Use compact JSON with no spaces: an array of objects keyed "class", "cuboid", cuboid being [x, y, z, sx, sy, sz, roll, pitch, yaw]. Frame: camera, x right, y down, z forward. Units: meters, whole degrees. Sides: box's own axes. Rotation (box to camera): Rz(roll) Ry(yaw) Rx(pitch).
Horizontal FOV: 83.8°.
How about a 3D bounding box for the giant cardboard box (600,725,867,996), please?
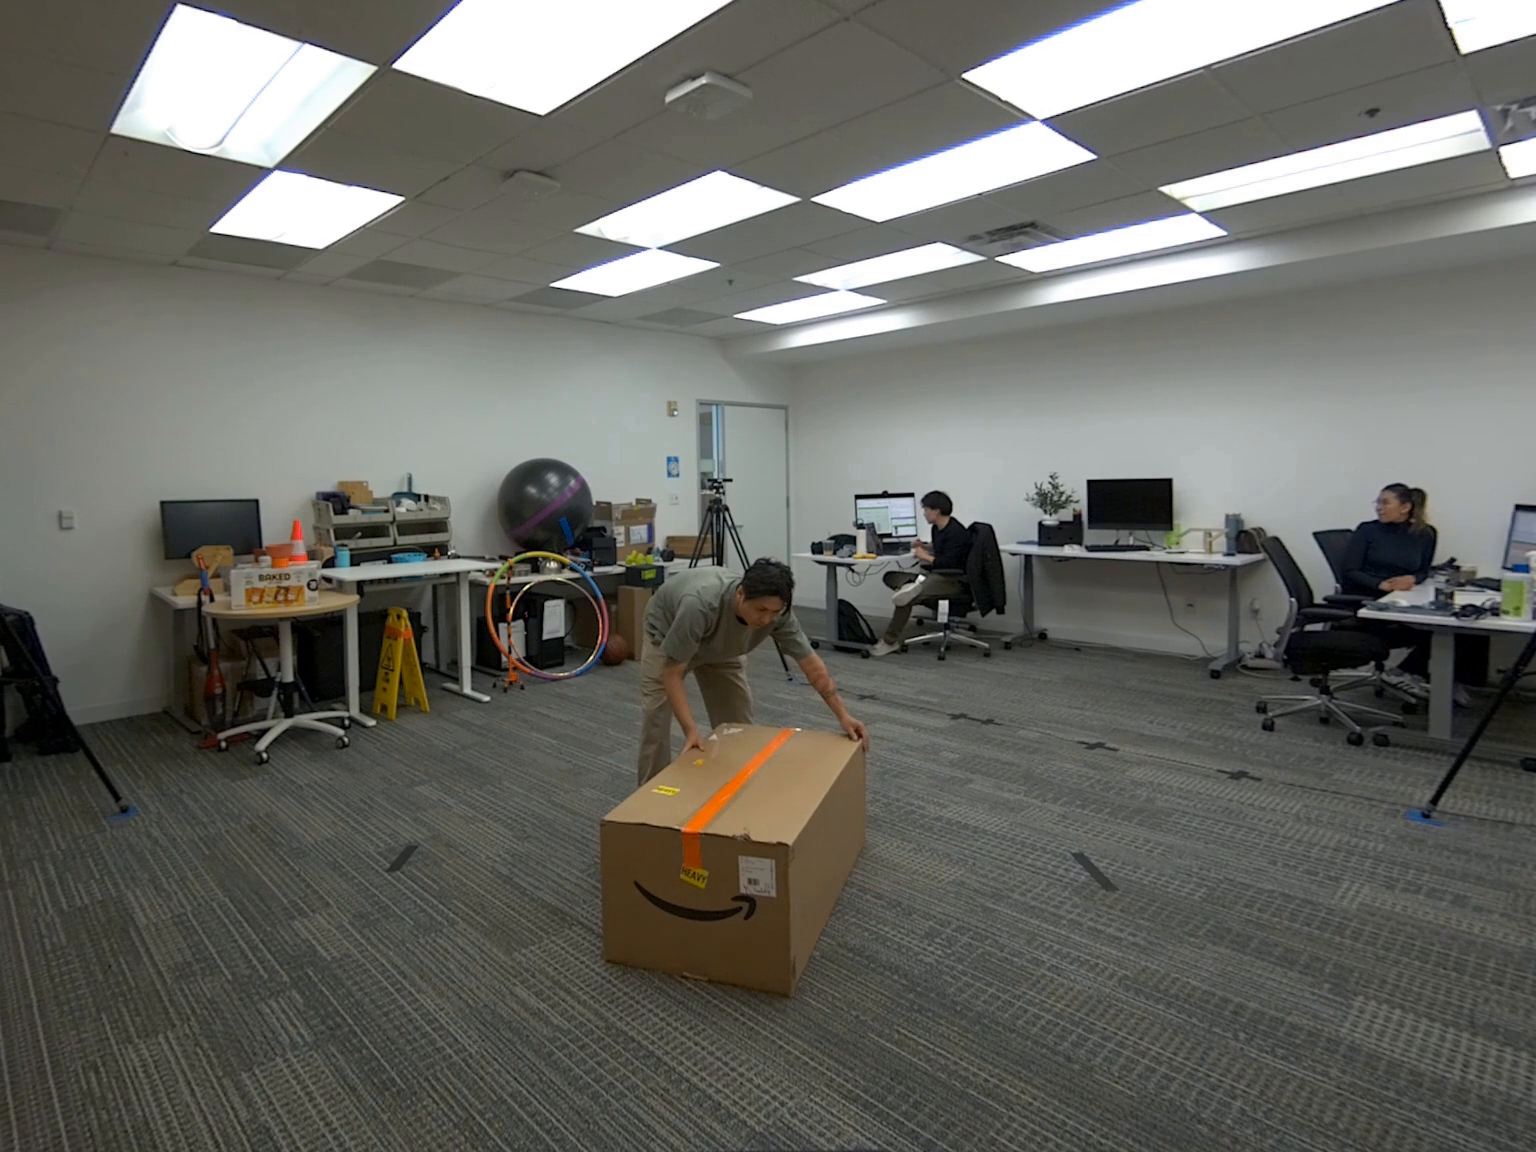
[{"class":"giant cardboard box","cuboid":[-0.058,0.854,2.853,0.588,0.424,1.011,1,6,19]}]
